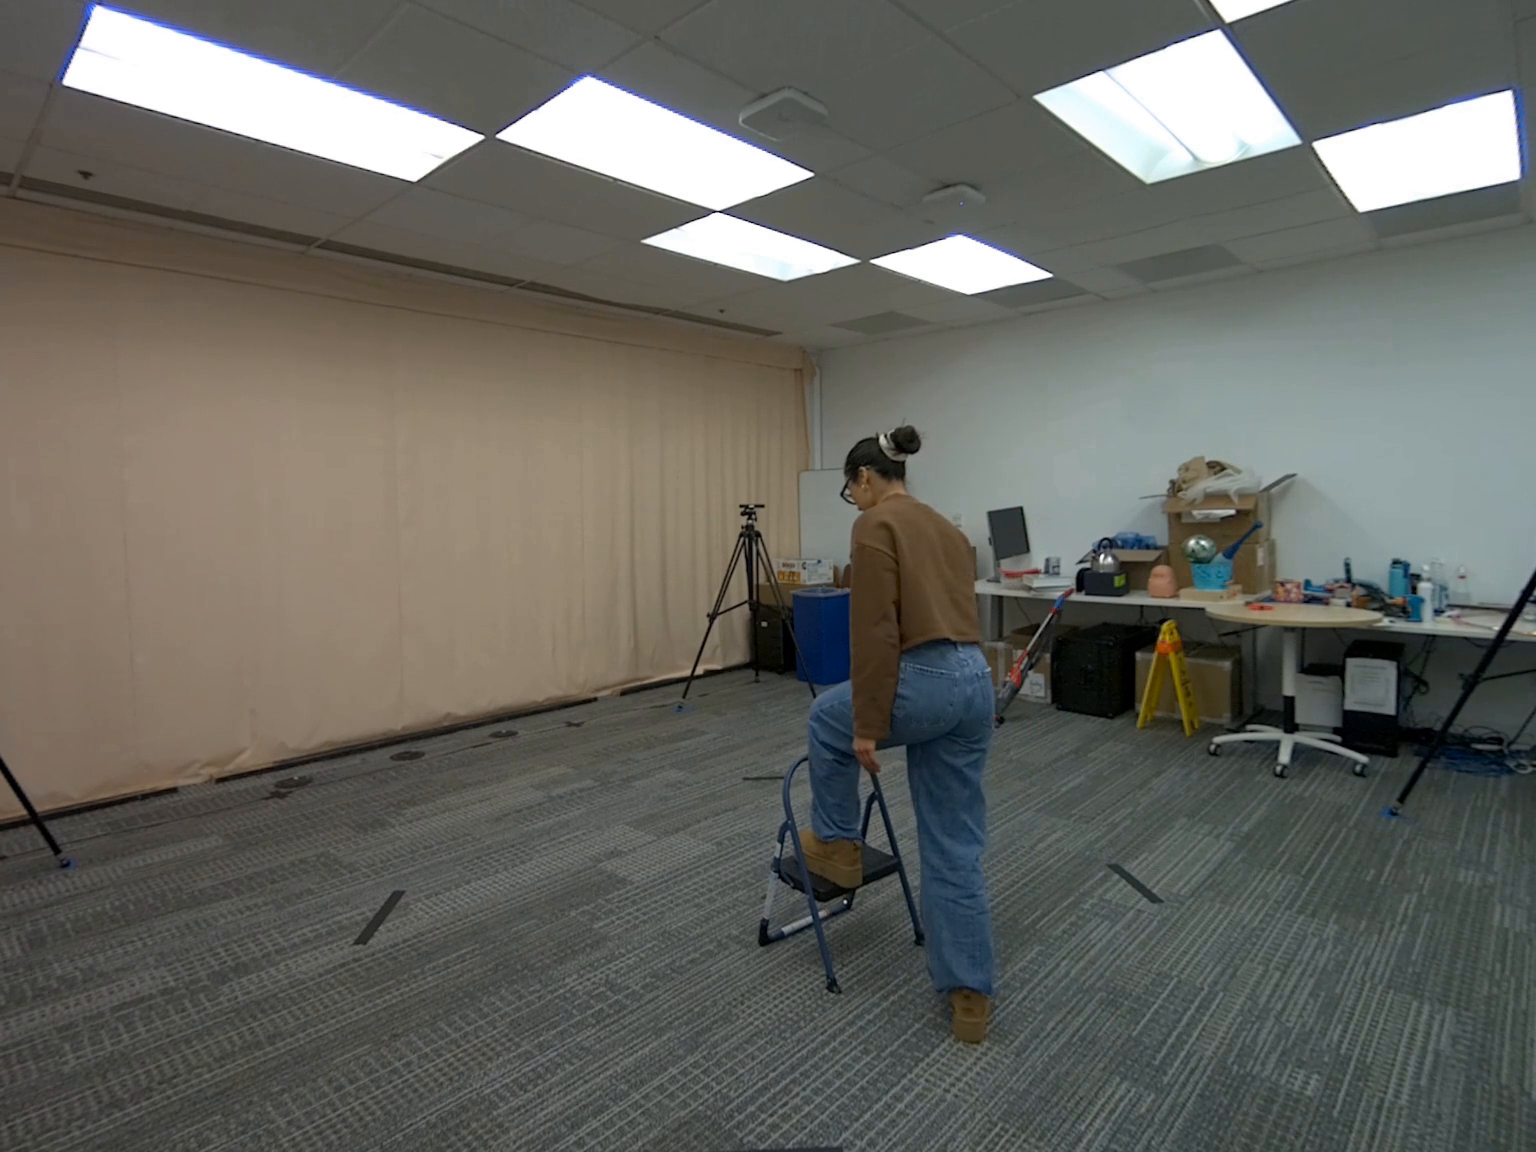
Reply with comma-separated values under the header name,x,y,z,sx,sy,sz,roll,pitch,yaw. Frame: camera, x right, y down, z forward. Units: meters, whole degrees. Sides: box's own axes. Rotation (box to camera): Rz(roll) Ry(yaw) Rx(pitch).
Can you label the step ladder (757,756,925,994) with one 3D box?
name,x,y,z,sx,sy,sz,roll,pitch,yaw
step ladder,0.232,0.862,2.639,0.418,0.605,0.361,-4,4,-40
